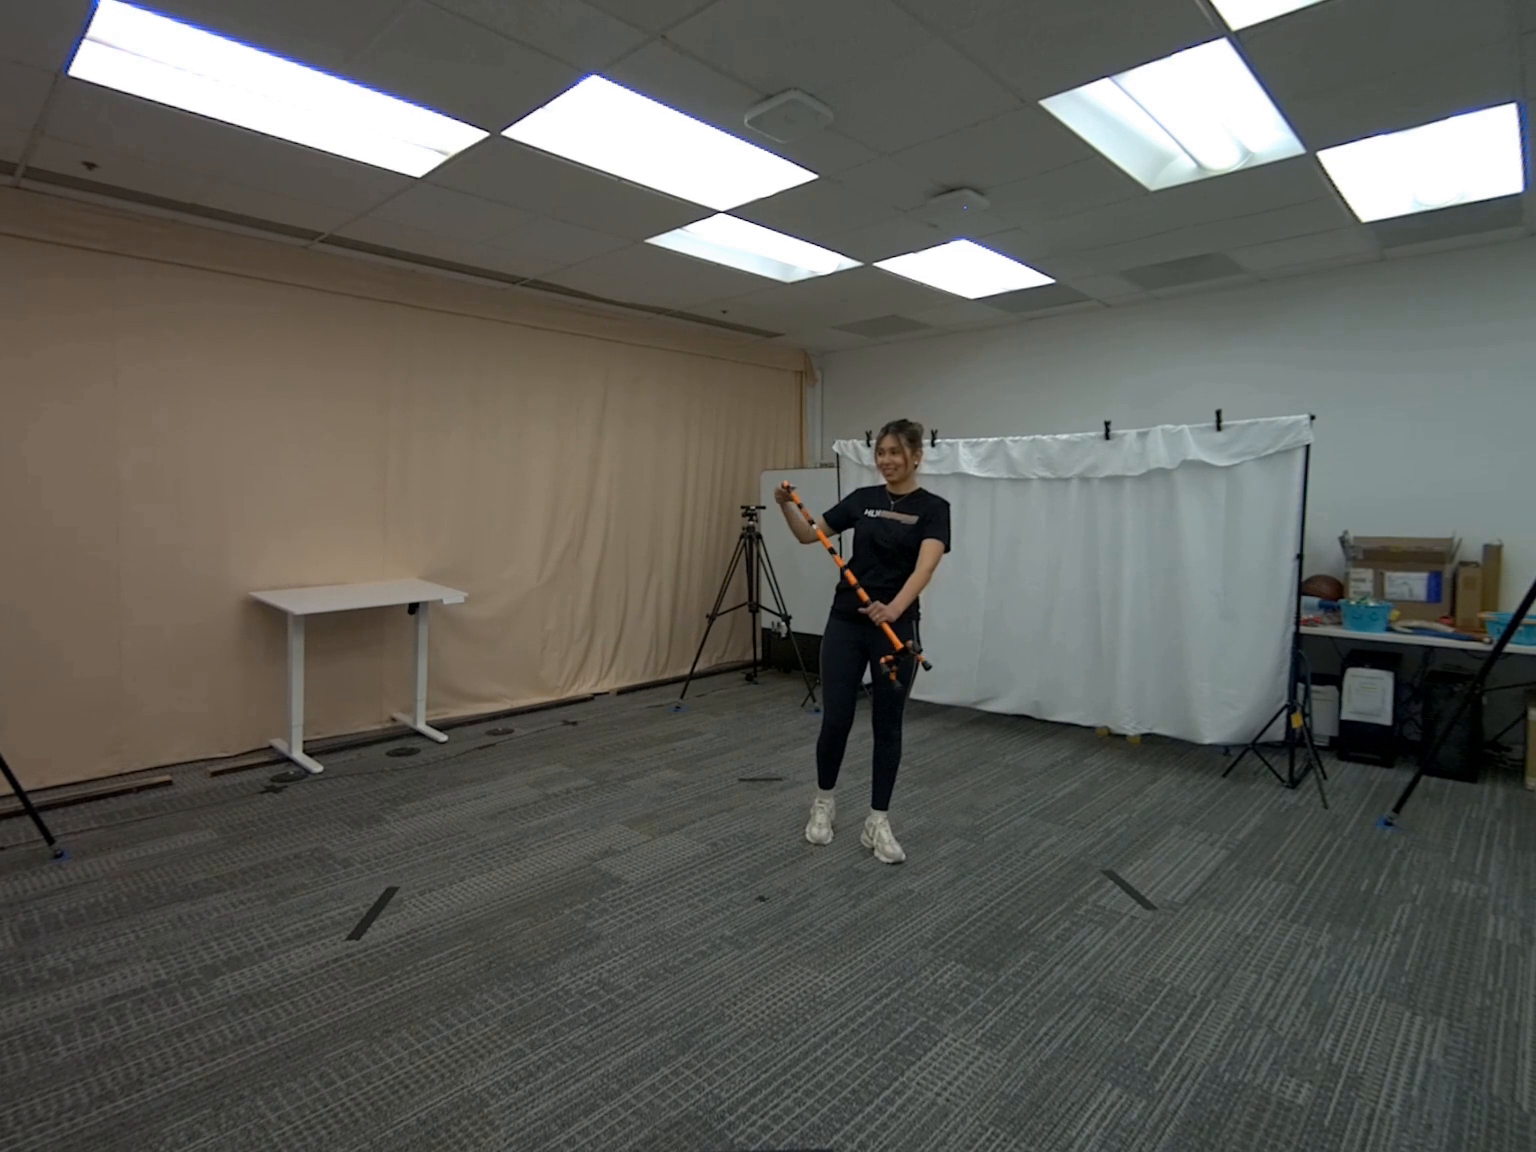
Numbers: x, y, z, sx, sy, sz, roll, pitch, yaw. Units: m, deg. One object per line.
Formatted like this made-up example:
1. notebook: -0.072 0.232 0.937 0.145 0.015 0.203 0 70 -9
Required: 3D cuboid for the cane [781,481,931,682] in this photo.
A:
1. cane: 0.260 -0.011 3.036 0.150 0.935 0.203 -20 -35 -17
